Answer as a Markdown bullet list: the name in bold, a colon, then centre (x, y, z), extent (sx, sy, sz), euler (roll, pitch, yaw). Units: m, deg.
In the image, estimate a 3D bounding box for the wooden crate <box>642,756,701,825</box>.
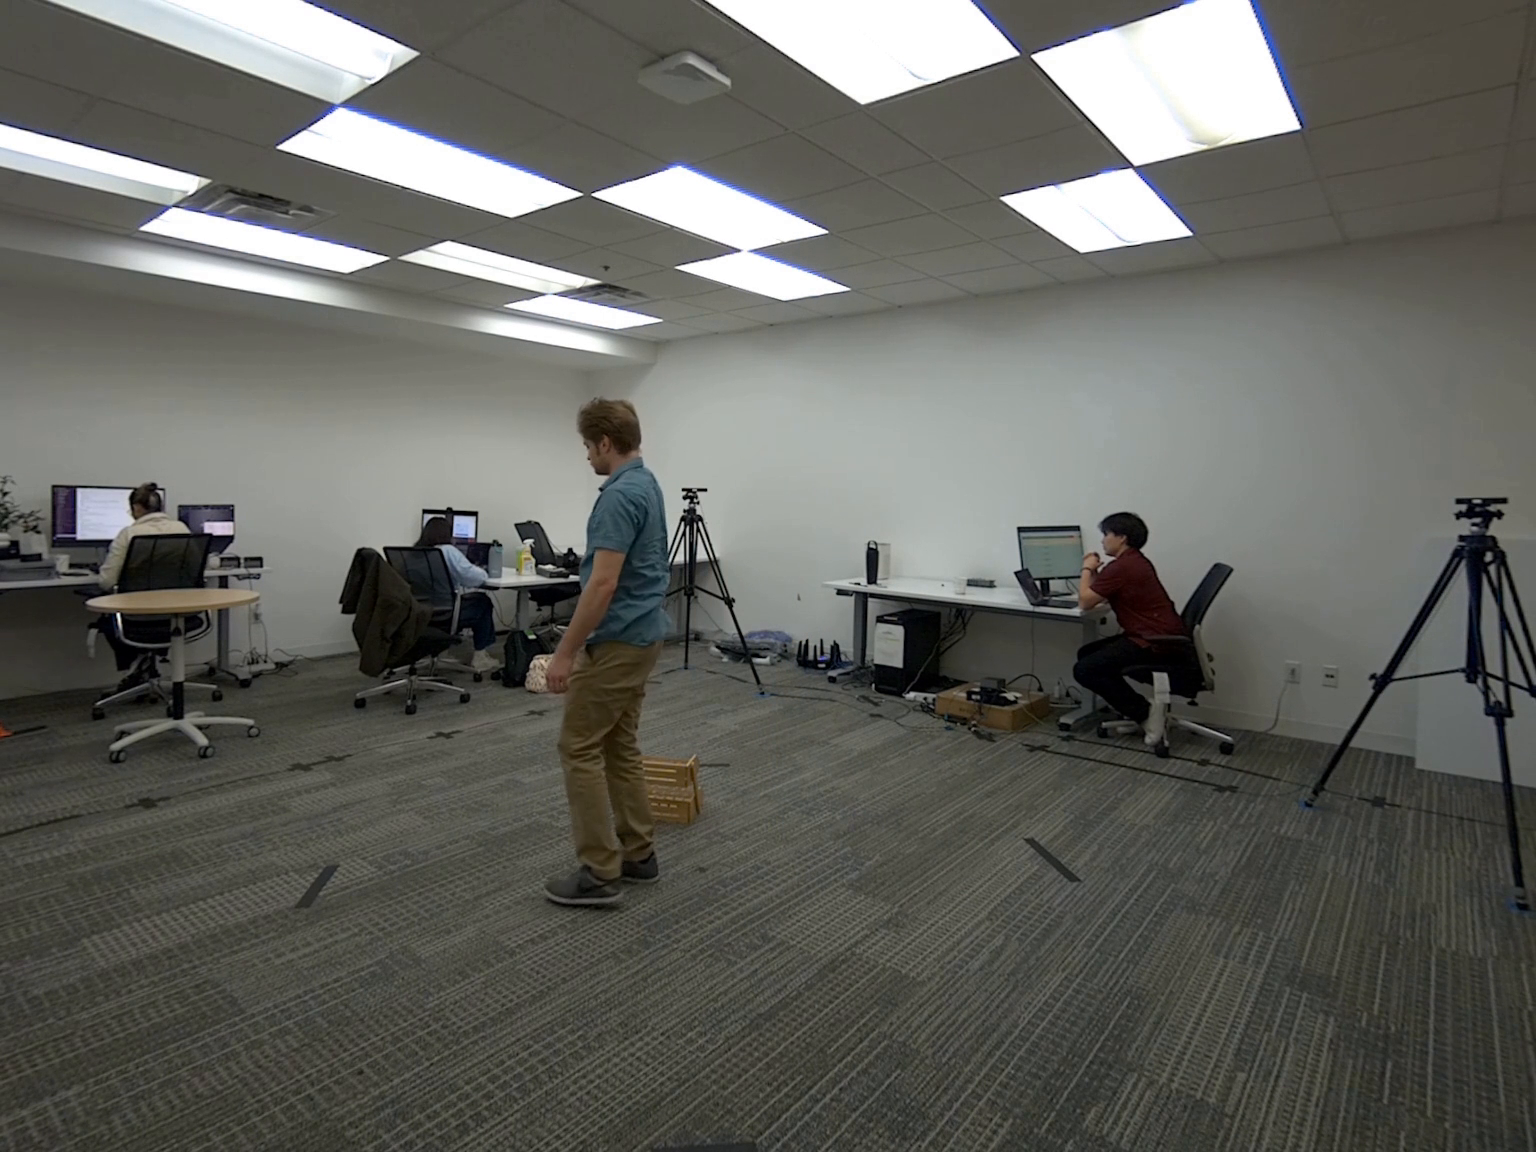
- **wooden crate**: centre (-0.467, 0.882, 3.663), extent (0.329, 0.272, 0.299), euler (1, 5, 11)
